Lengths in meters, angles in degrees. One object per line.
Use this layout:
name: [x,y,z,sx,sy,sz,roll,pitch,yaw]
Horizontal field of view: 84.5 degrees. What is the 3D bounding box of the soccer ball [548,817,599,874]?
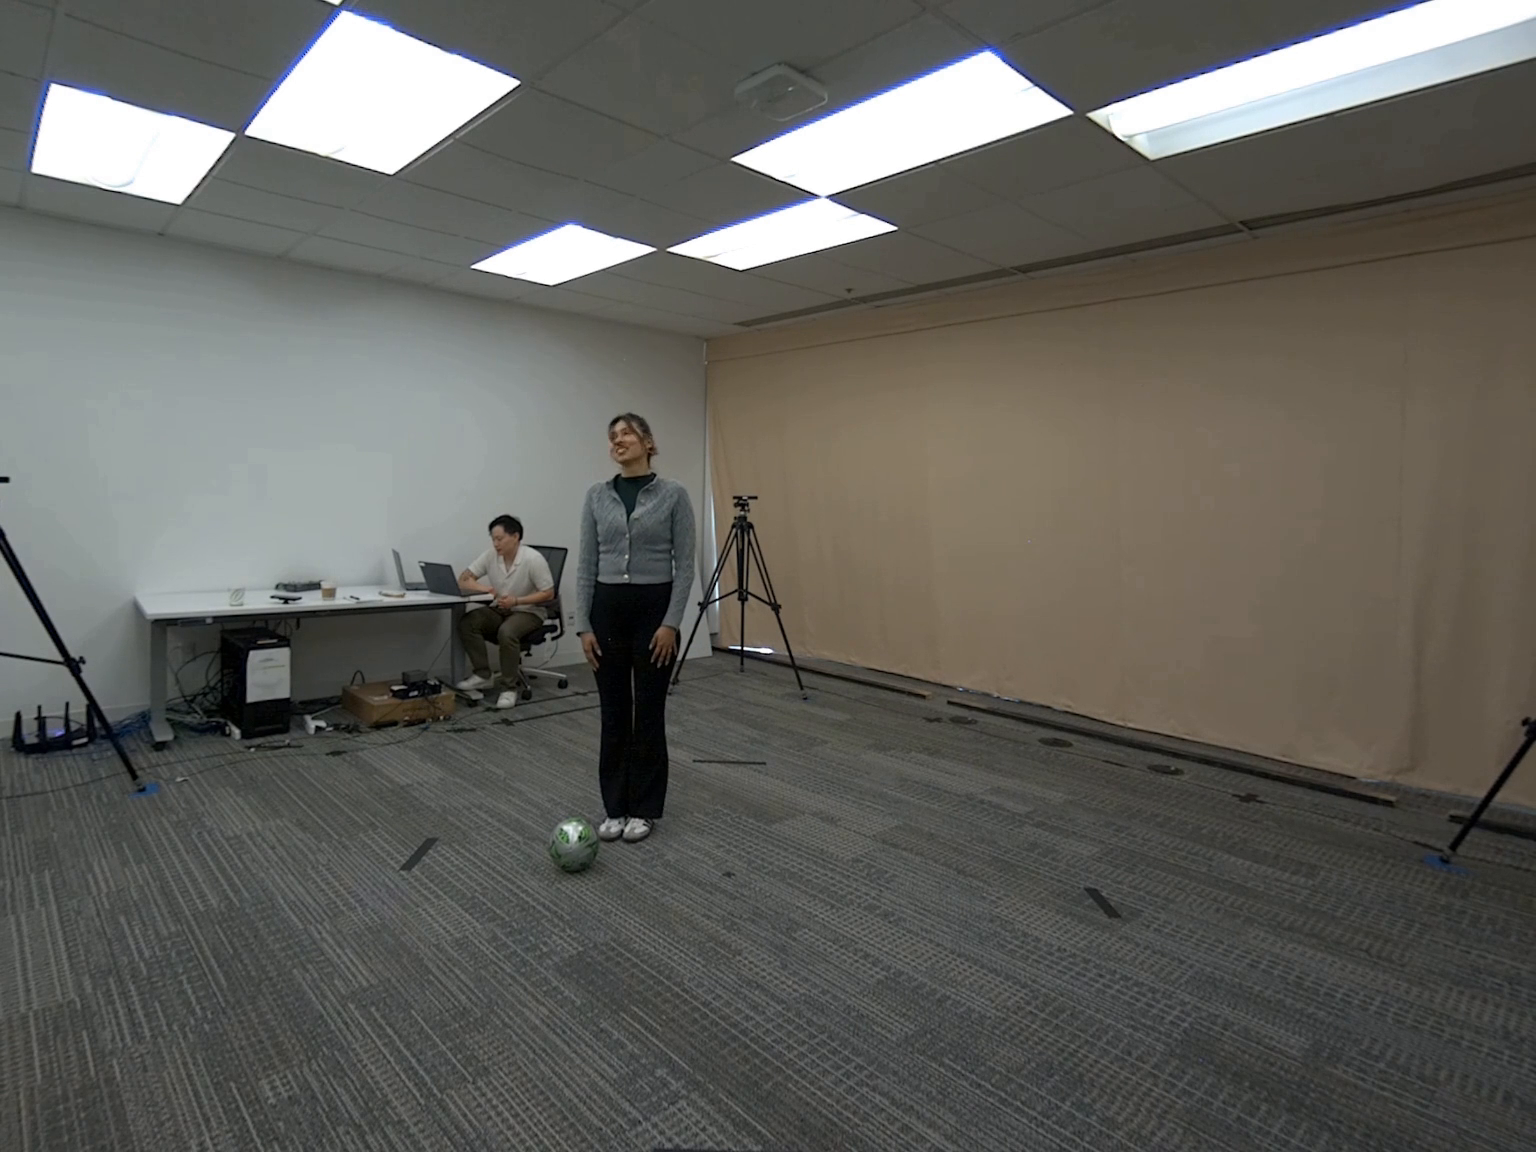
soccer ball: [-0.736,0.998,3.118,0.187,0.187,0.188,1,4,-1]
